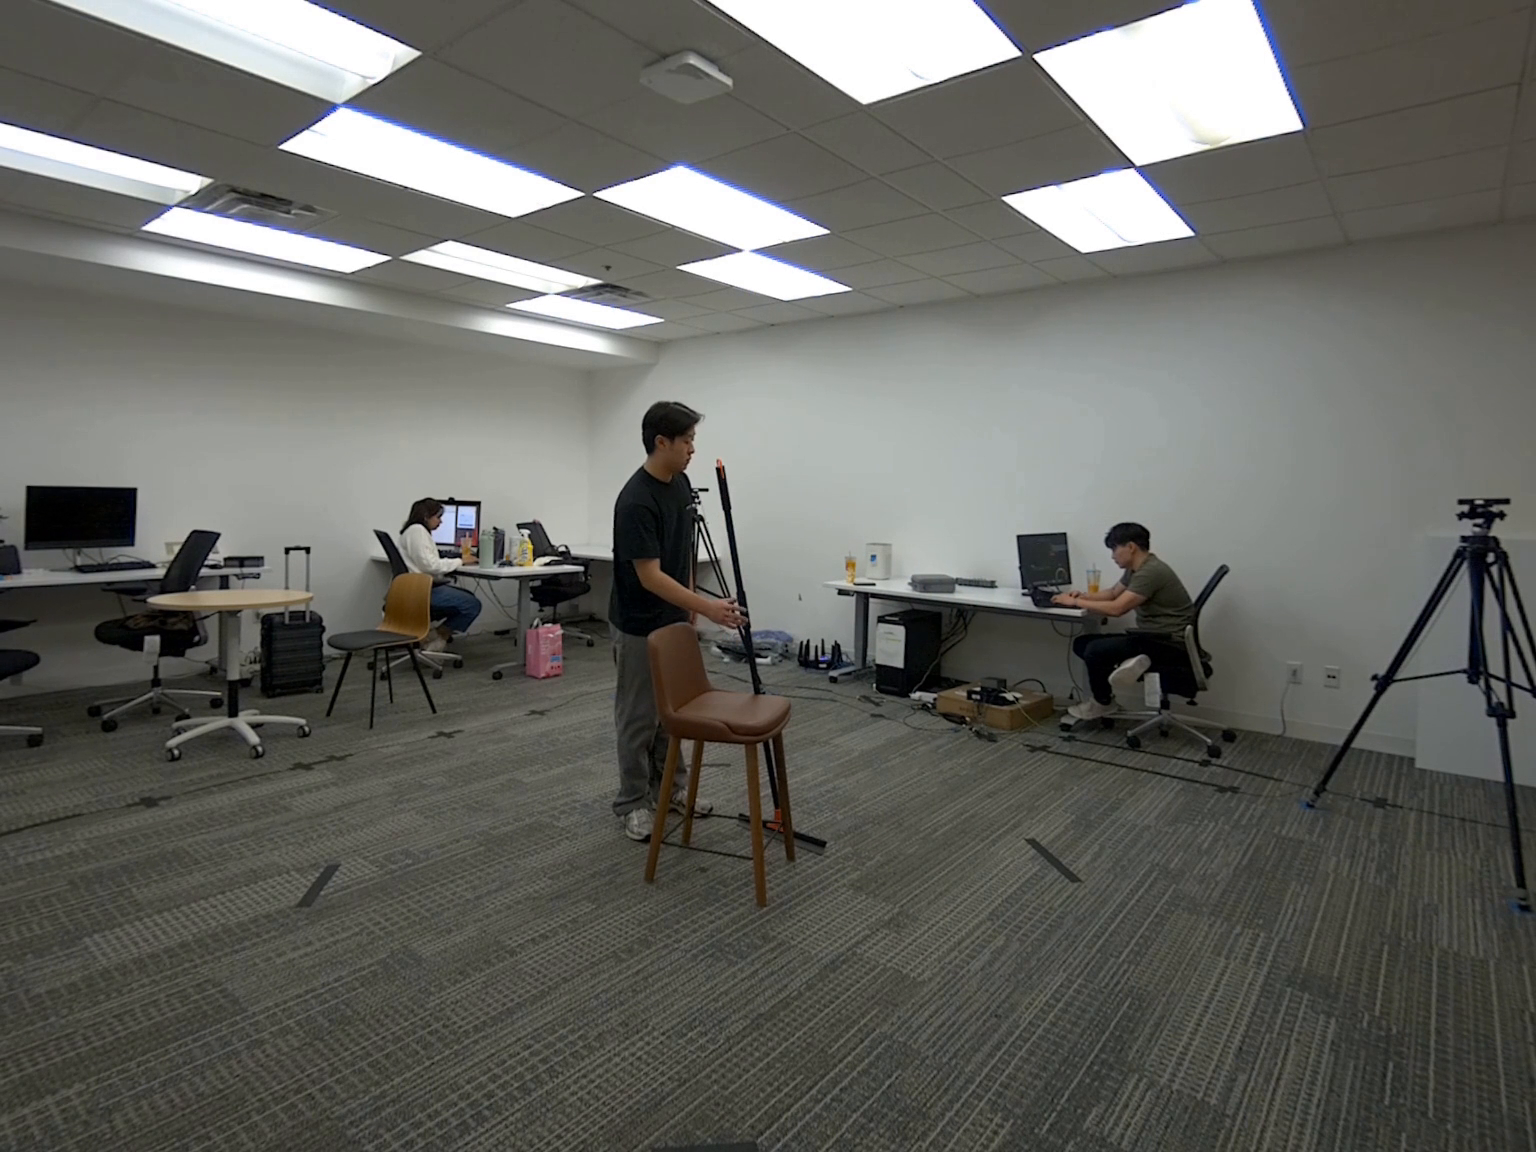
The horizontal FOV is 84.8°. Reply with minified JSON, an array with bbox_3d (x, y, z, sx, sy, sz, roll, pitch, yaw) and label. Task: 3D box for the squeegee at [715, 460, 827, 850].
[{"bbox_3d":[-0.065,0.305,3.246,0.052,1.518,0.453,-18,15,-40],"label":"squeegee"}]
